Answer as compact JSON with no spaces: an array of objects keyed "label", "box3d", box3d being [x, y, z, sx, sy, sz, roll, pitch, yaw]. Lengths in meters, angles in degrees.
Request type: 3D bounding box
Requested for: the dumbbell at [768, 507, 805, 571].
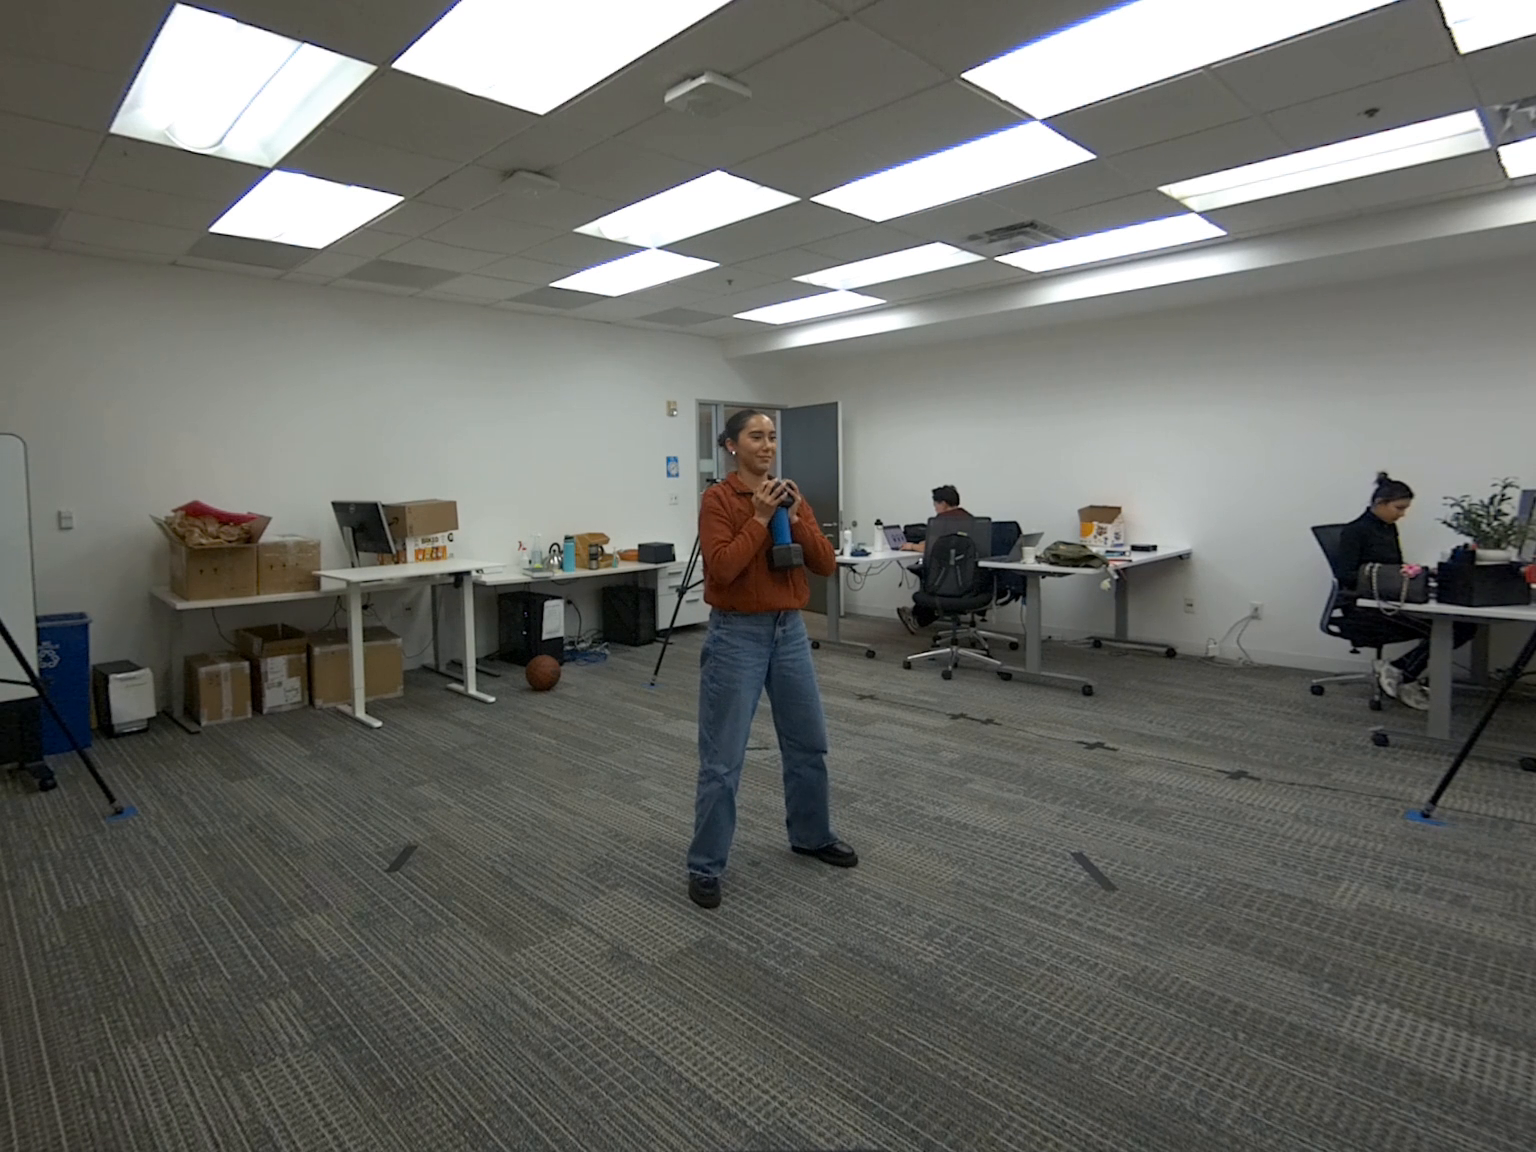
[{"label":"dumbbell","box3d":[0.028,-0.158,2.884,0.111,0.296,0.119,-15,-8,36]}]
